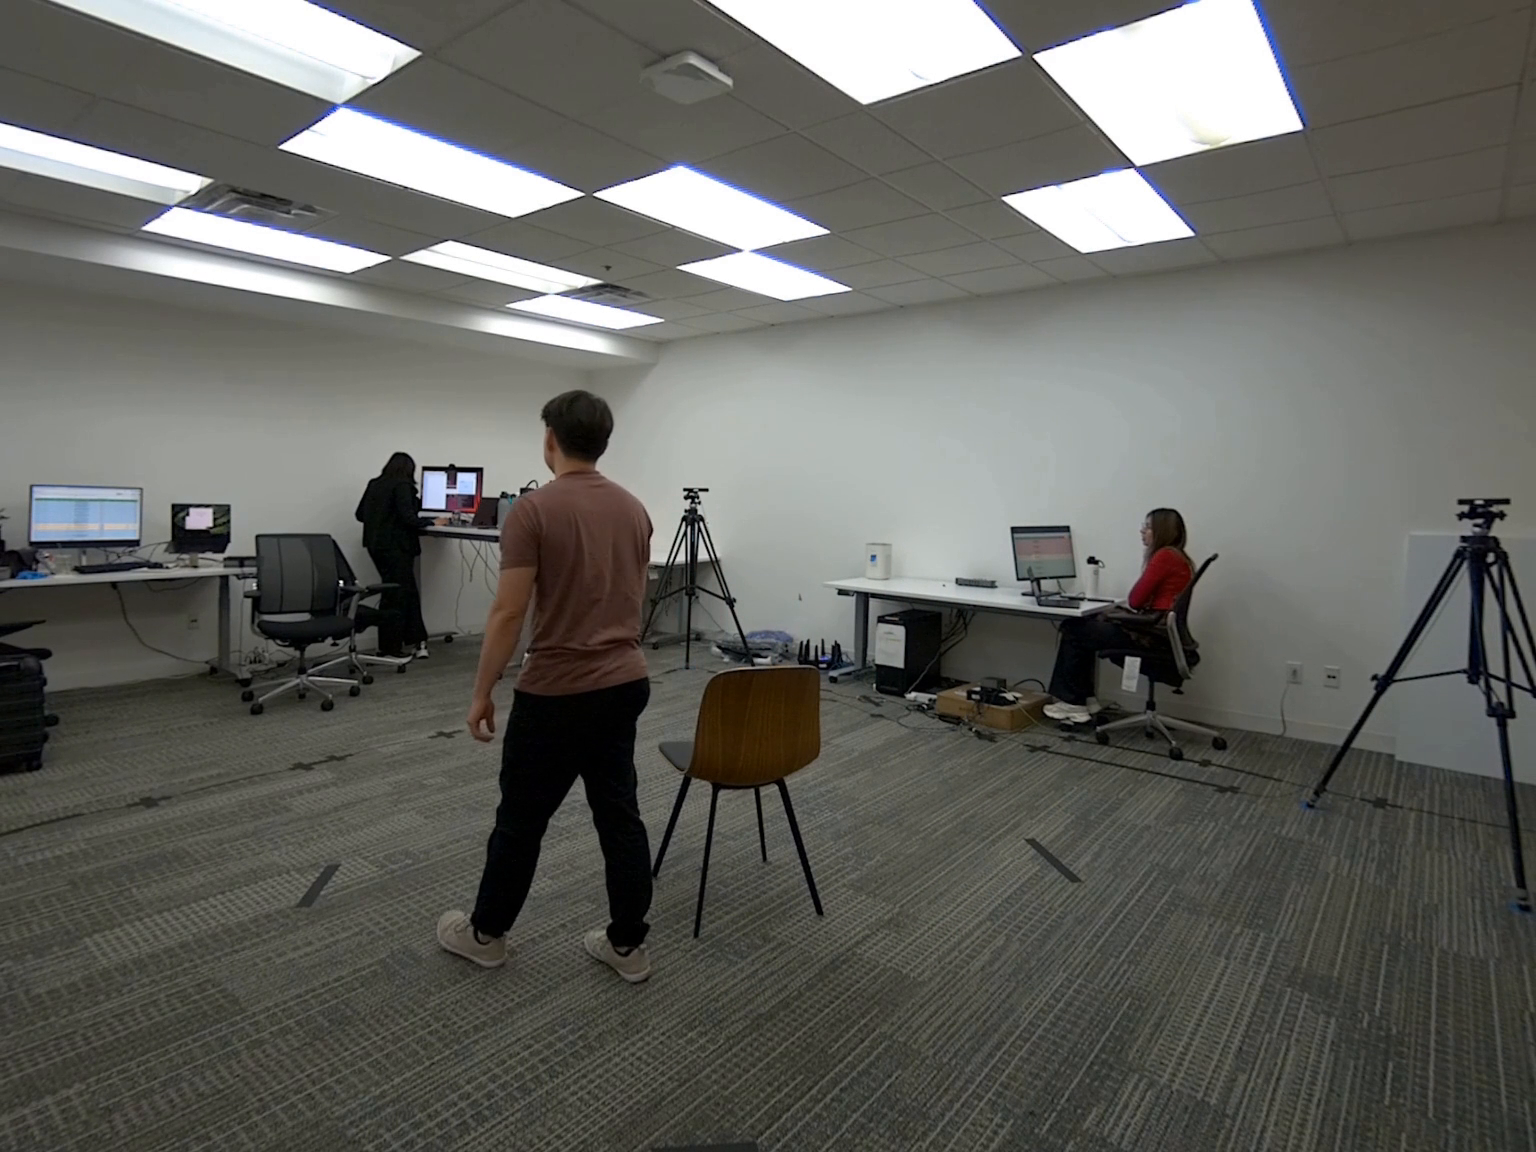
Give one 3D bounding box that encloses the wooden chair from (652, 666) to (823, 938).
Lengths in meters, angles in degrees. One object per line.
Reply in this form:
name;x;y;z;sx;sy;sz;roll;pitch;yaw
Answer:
wooden chair;-0.119;0.666;2.892;0.467;0.872;0.538;0;8;-23
